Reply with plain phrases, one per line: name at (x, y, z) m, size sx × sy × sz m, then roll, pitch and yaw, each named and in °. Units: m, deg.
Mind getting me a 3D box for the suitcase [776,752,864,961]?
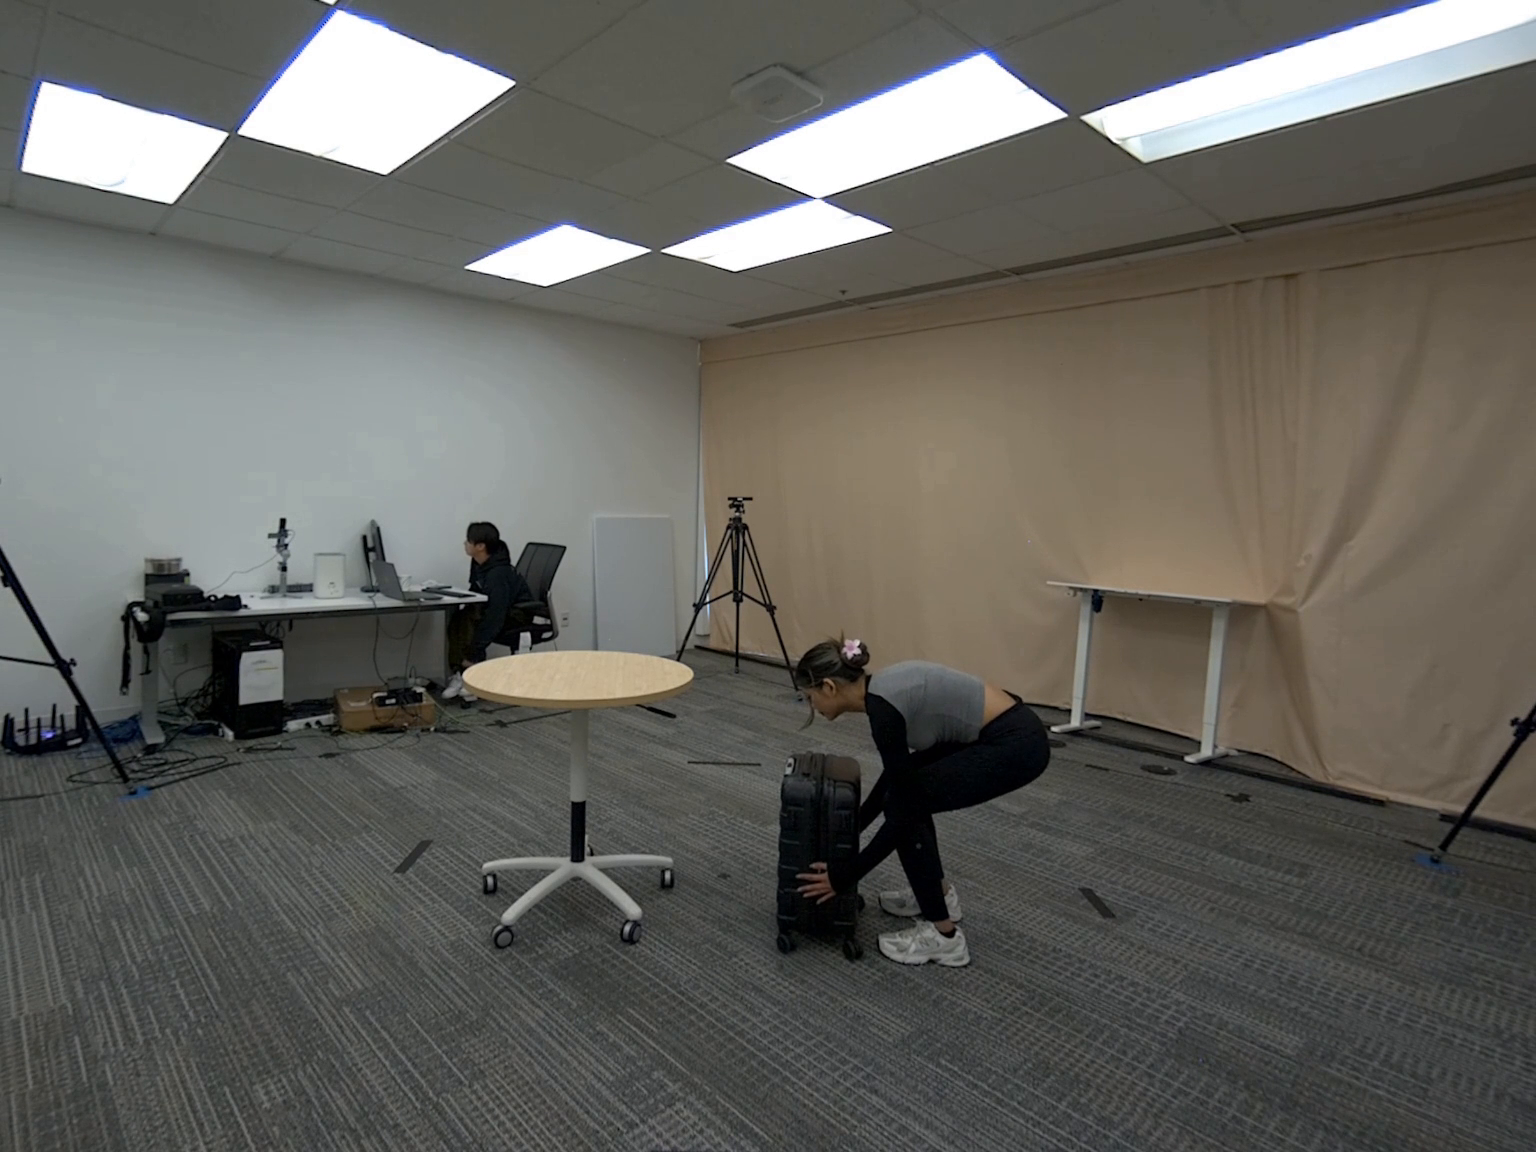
suitcase at (0.171, 0.872, 2.726) m, size 0.250 × 0.548 × 0.374 m, roll 1°, pitch 3°, yaw 6°
